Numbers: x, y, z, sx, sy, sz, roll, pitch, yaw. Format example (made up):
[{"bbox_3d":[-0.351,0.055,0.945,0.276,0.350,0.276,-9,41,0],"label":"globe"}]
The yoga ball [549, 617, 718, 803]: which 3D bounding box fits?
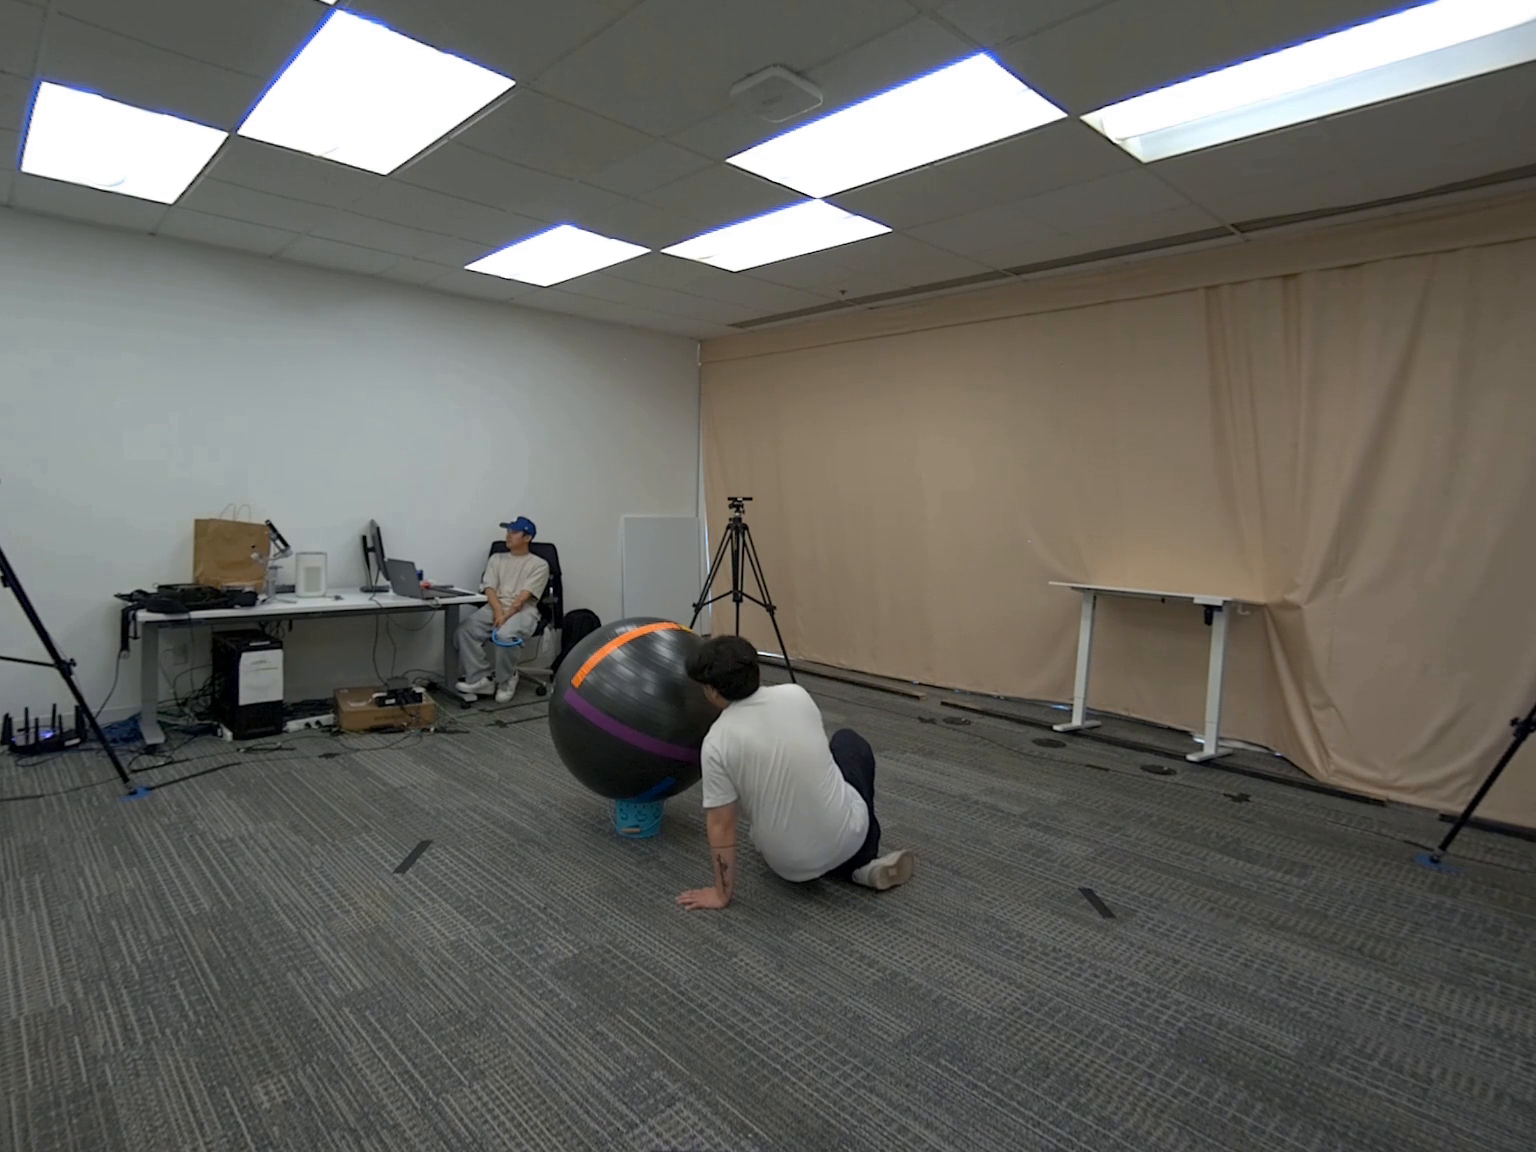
[{"bbox_3d":[-0.540,0.550,3.518,0.757,0.756,0.761,1,4,-1],"label":"yoga ball"}]
